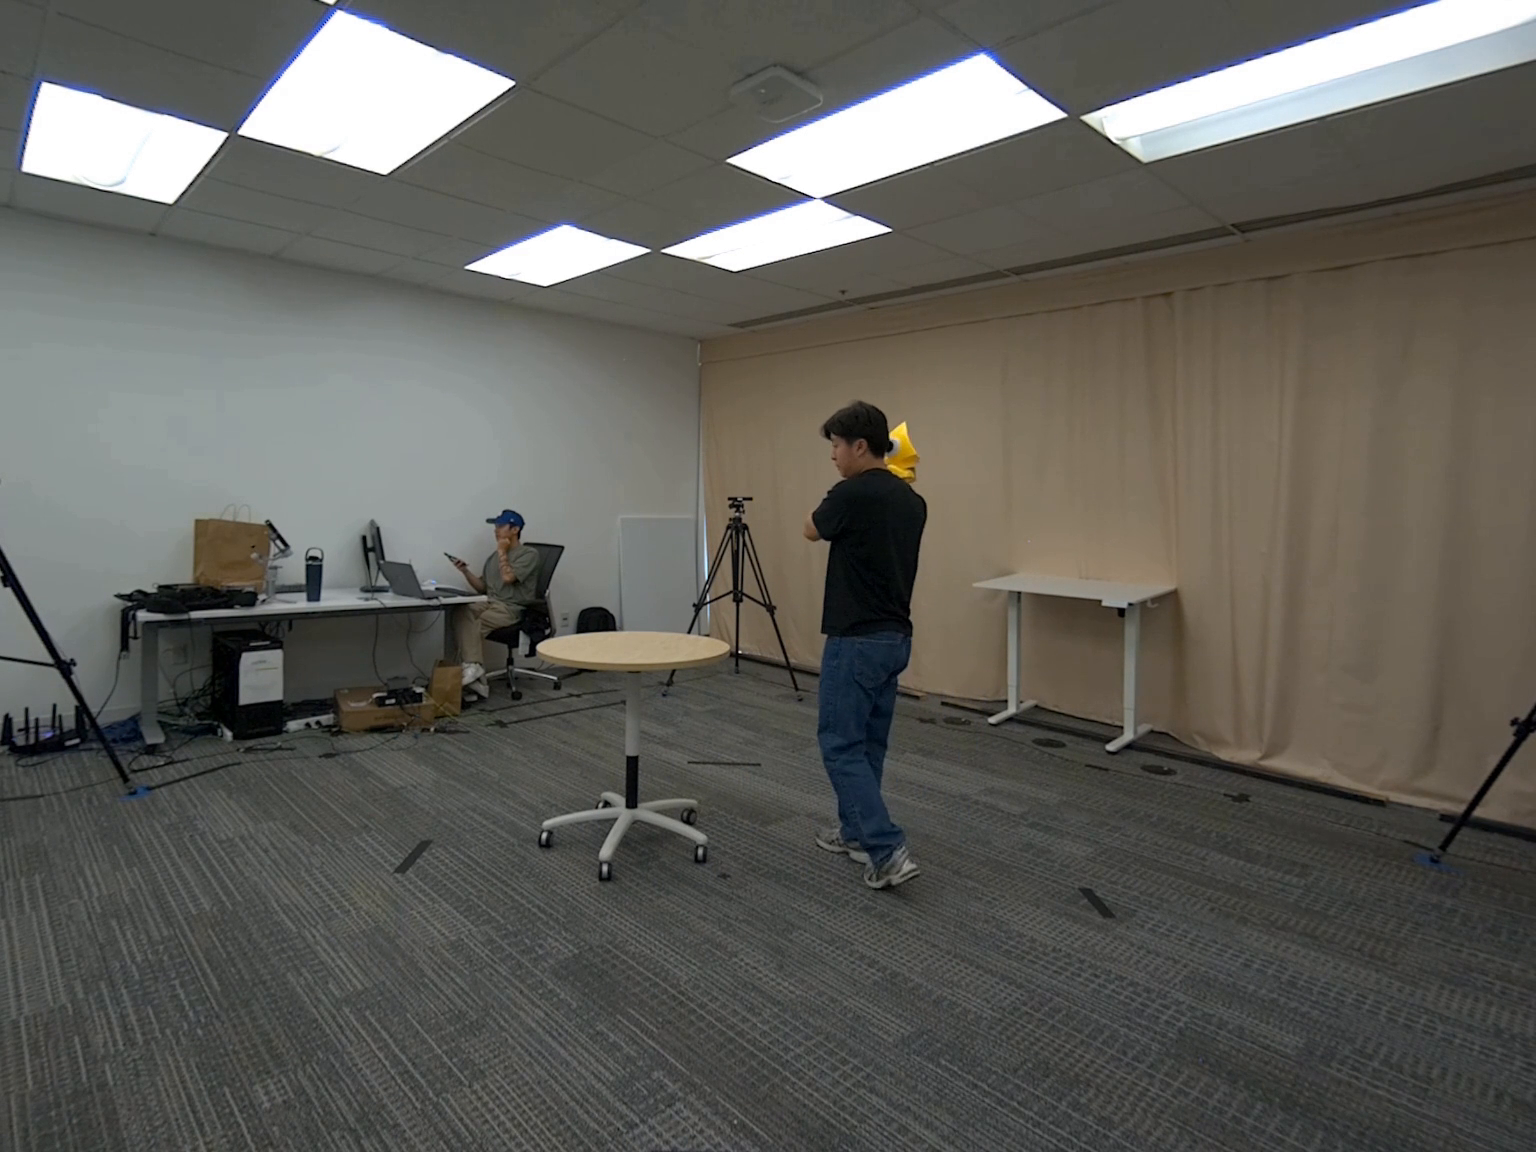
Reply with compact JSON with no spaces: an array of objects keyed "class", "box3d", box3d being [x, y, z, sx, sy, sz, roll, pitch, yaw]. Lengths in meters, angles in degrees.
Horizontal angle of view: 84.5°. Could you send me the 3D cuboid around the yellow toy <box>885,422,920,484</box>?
[{"class":"yellow toy","box3d":[0.491,-0.479,3.284,0.195,0.232,0.202,-9,-5,15]}]
